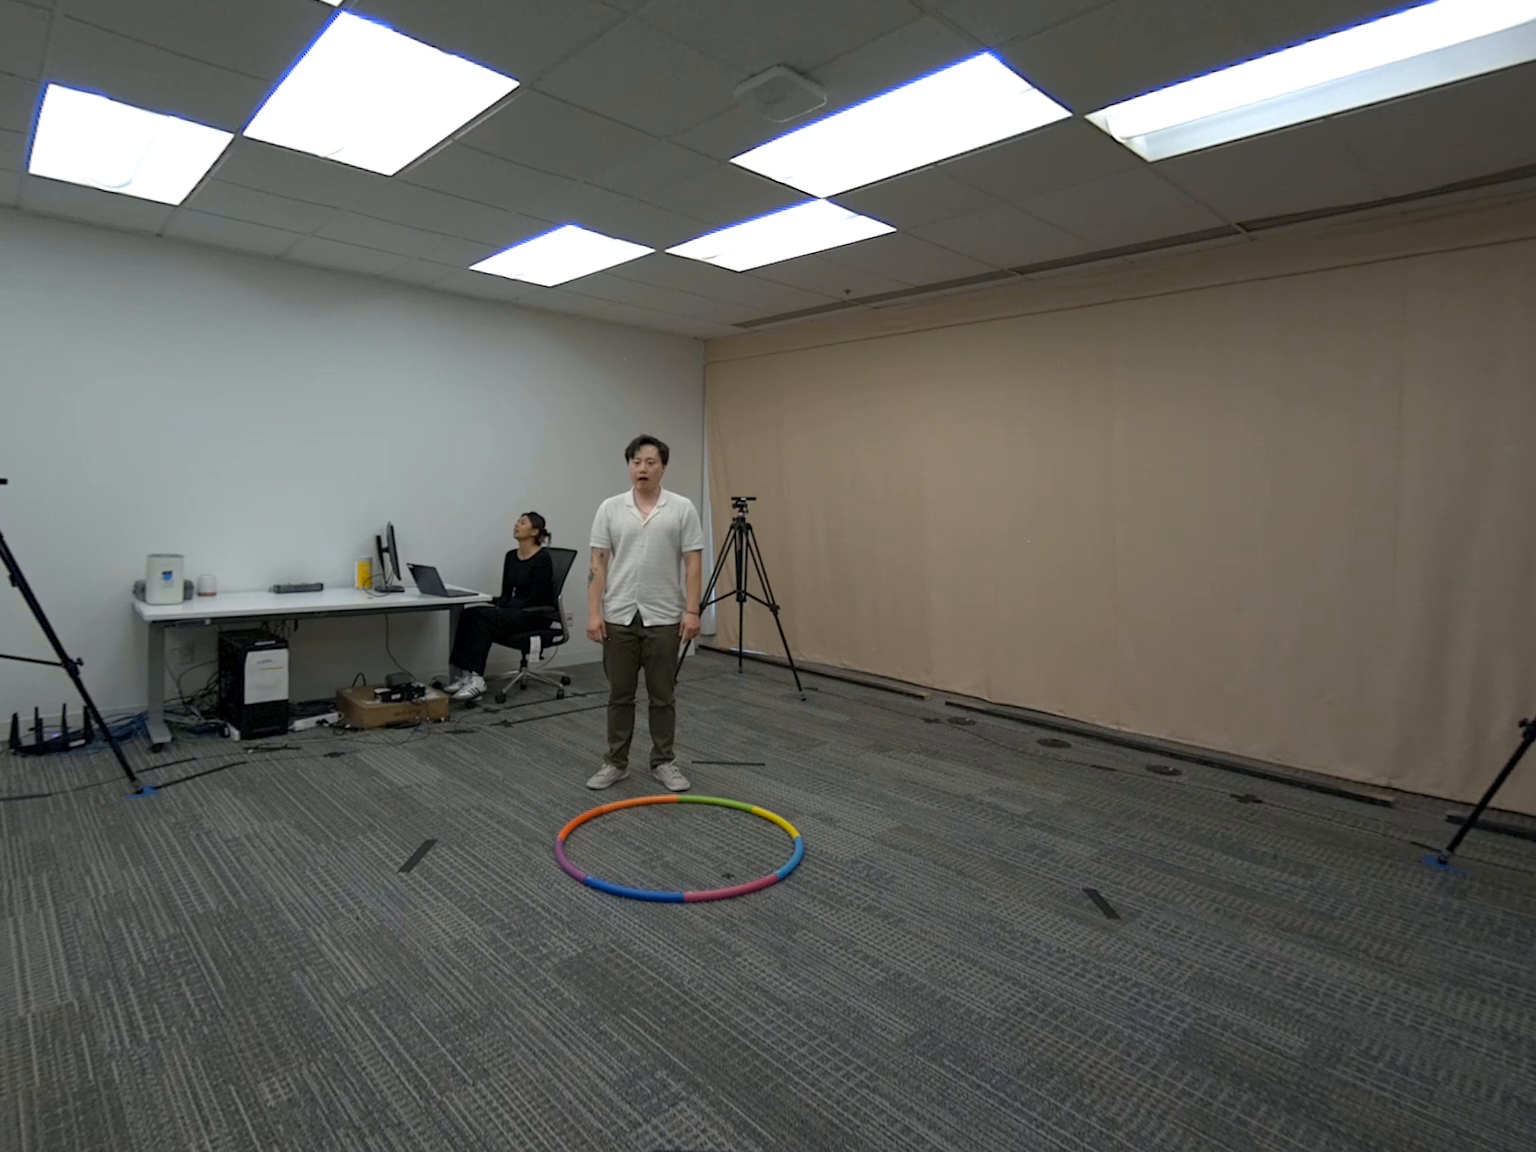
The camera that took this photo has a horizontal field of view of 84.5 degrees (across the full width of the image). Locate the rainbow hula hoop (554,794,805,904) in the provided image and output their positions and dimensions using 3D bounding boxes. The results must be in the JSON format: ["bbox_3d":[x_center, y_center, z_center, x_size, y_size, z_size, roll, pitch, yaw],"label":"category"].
[{"bbox_3d":[-0.358,1.050,3.373,0.978,0.035,0.982,1,5,-1],"label":"rainbow hula hoop"}]
